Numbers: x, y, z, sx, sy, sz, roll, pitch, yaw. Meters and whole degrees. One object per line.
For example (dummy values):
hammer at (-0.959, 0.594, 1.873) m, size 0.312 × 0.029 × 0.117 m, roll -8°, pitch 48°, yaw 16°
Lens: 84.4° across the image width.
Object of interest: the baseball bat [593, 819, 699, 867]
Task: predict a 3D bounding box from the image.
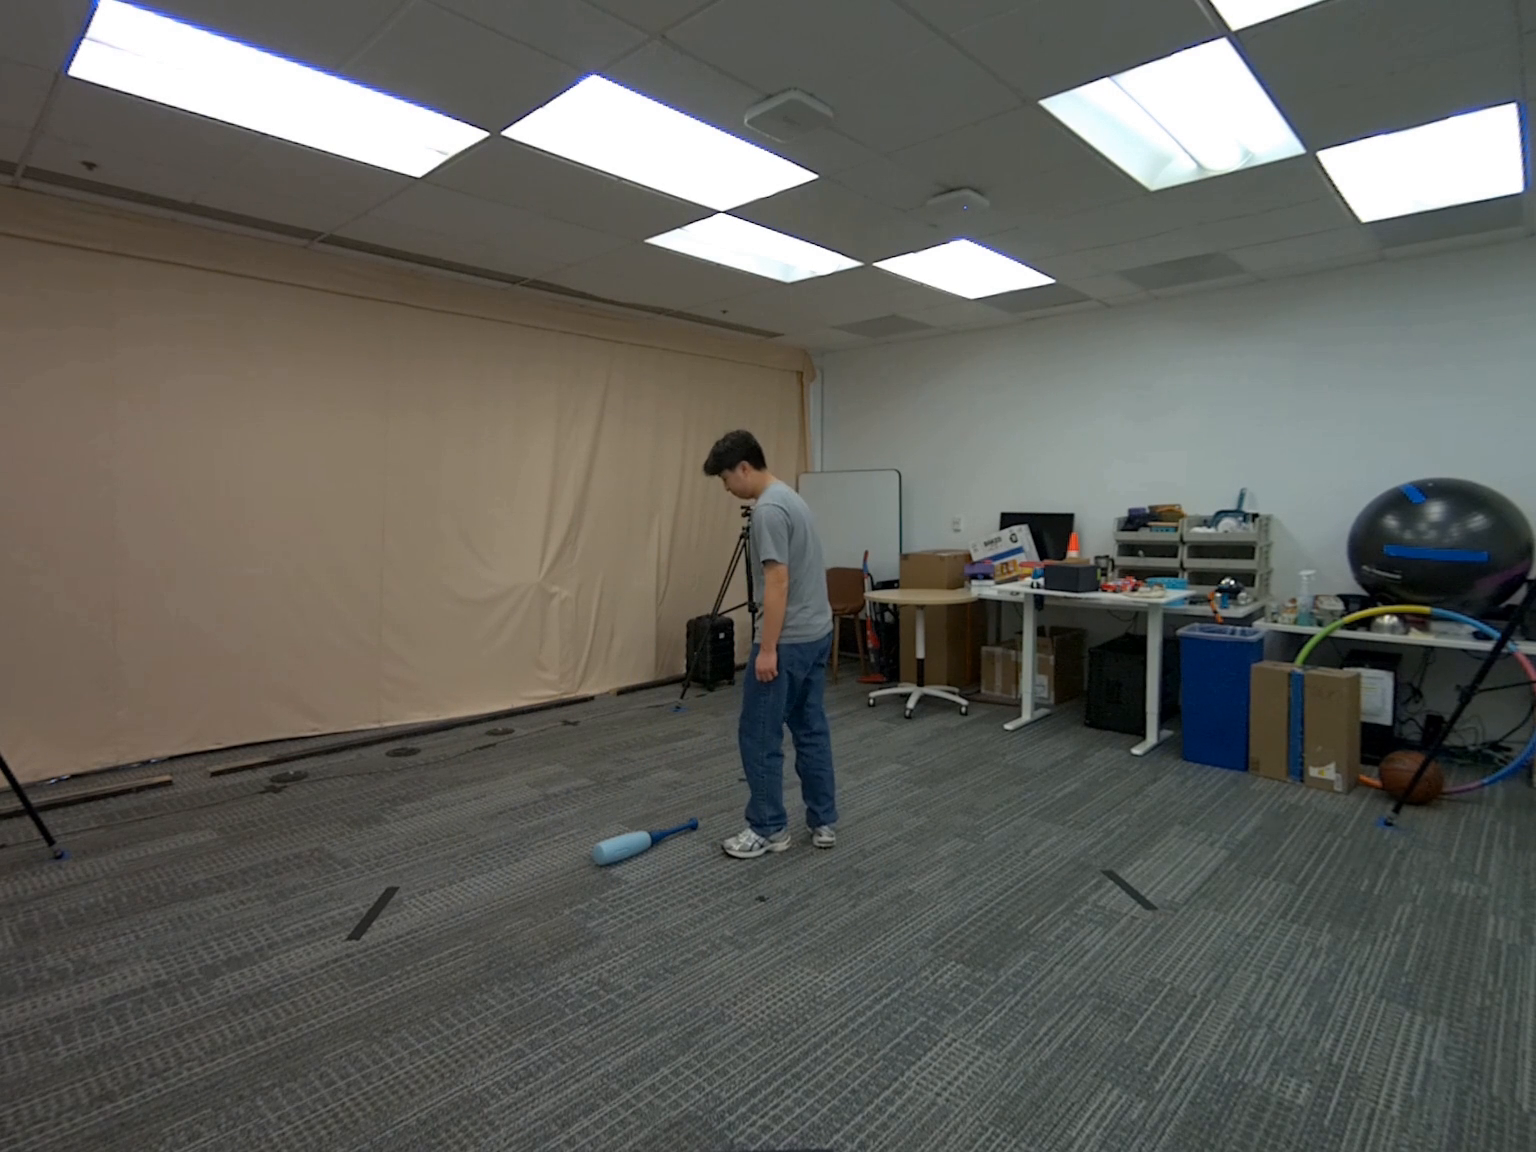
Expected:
baseball bat at (-0.484, 1.079, 3.442) m, size 0.092 × 0.089 × 0.525 m, roll 3°, pitch 1°, yaw 41°
